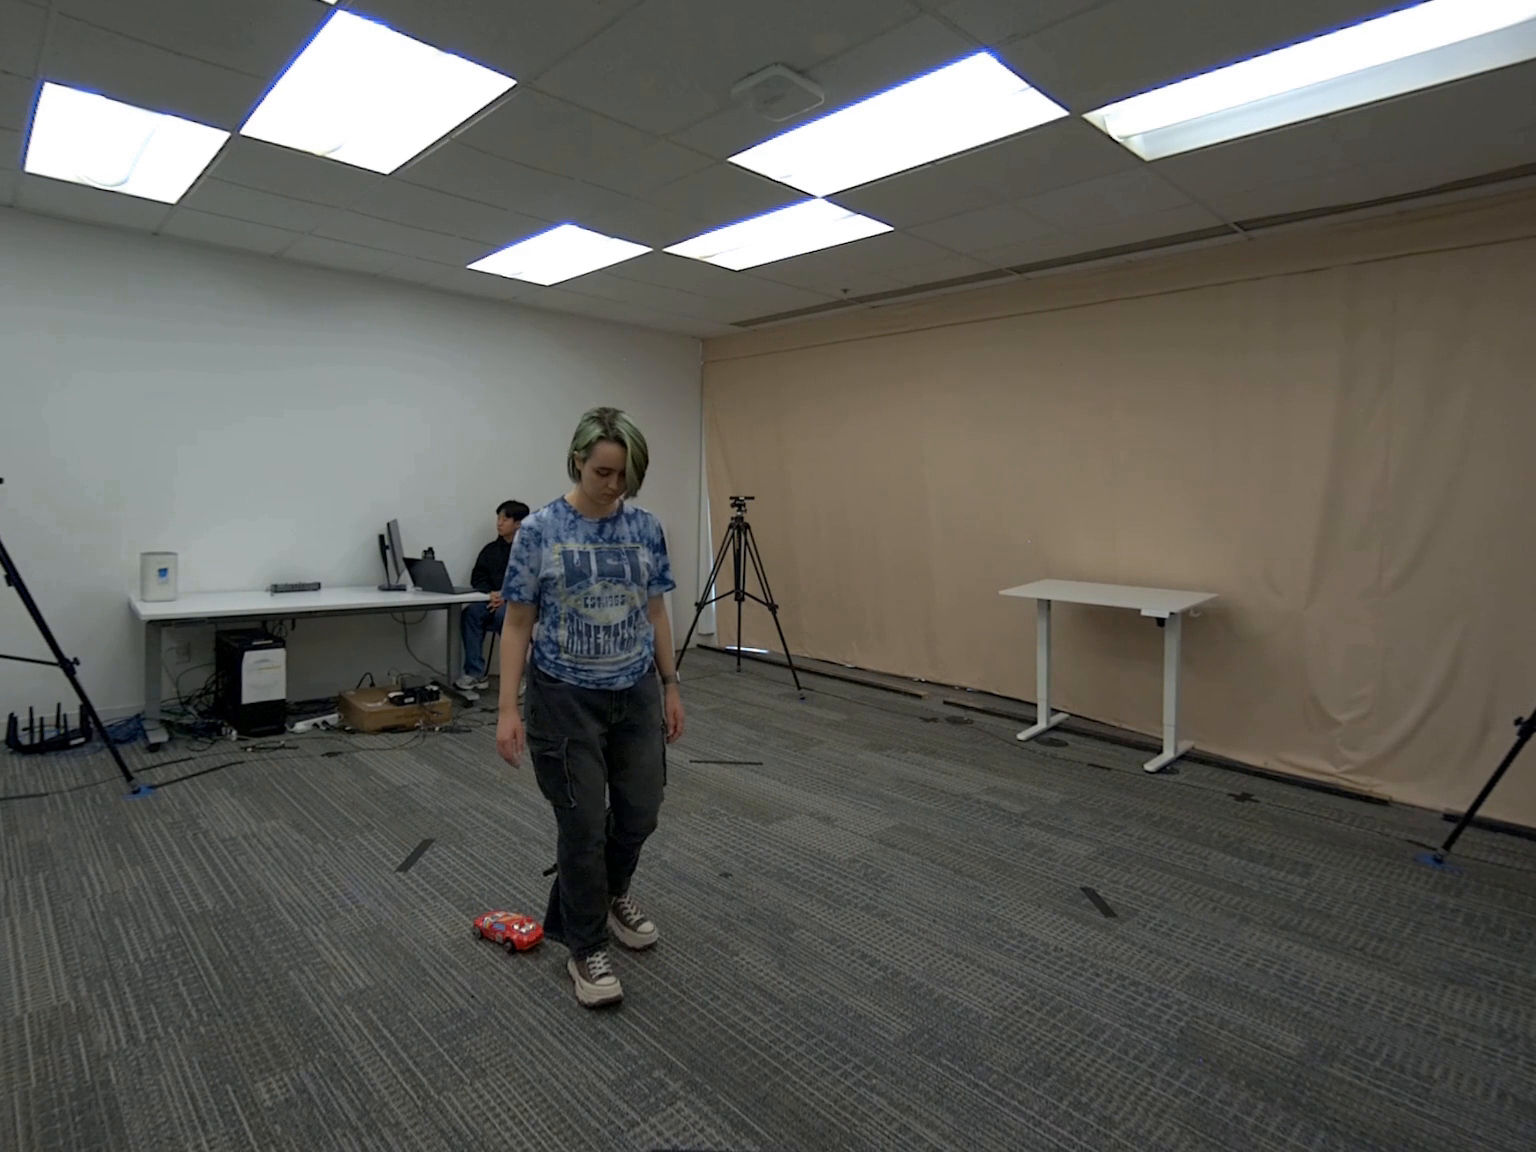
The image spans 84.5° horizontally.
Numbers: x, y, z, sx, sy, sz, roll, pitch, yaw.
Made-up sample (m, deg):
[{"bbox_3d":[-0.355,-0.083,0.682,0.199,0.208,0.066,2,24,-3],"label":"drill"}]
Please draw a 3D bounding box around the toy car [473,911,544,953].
[{"bbox_3d":[-0.798,1.100,2.608,0.259,0.083,0.128,-8,-1,33],"label":"toy car"}]
